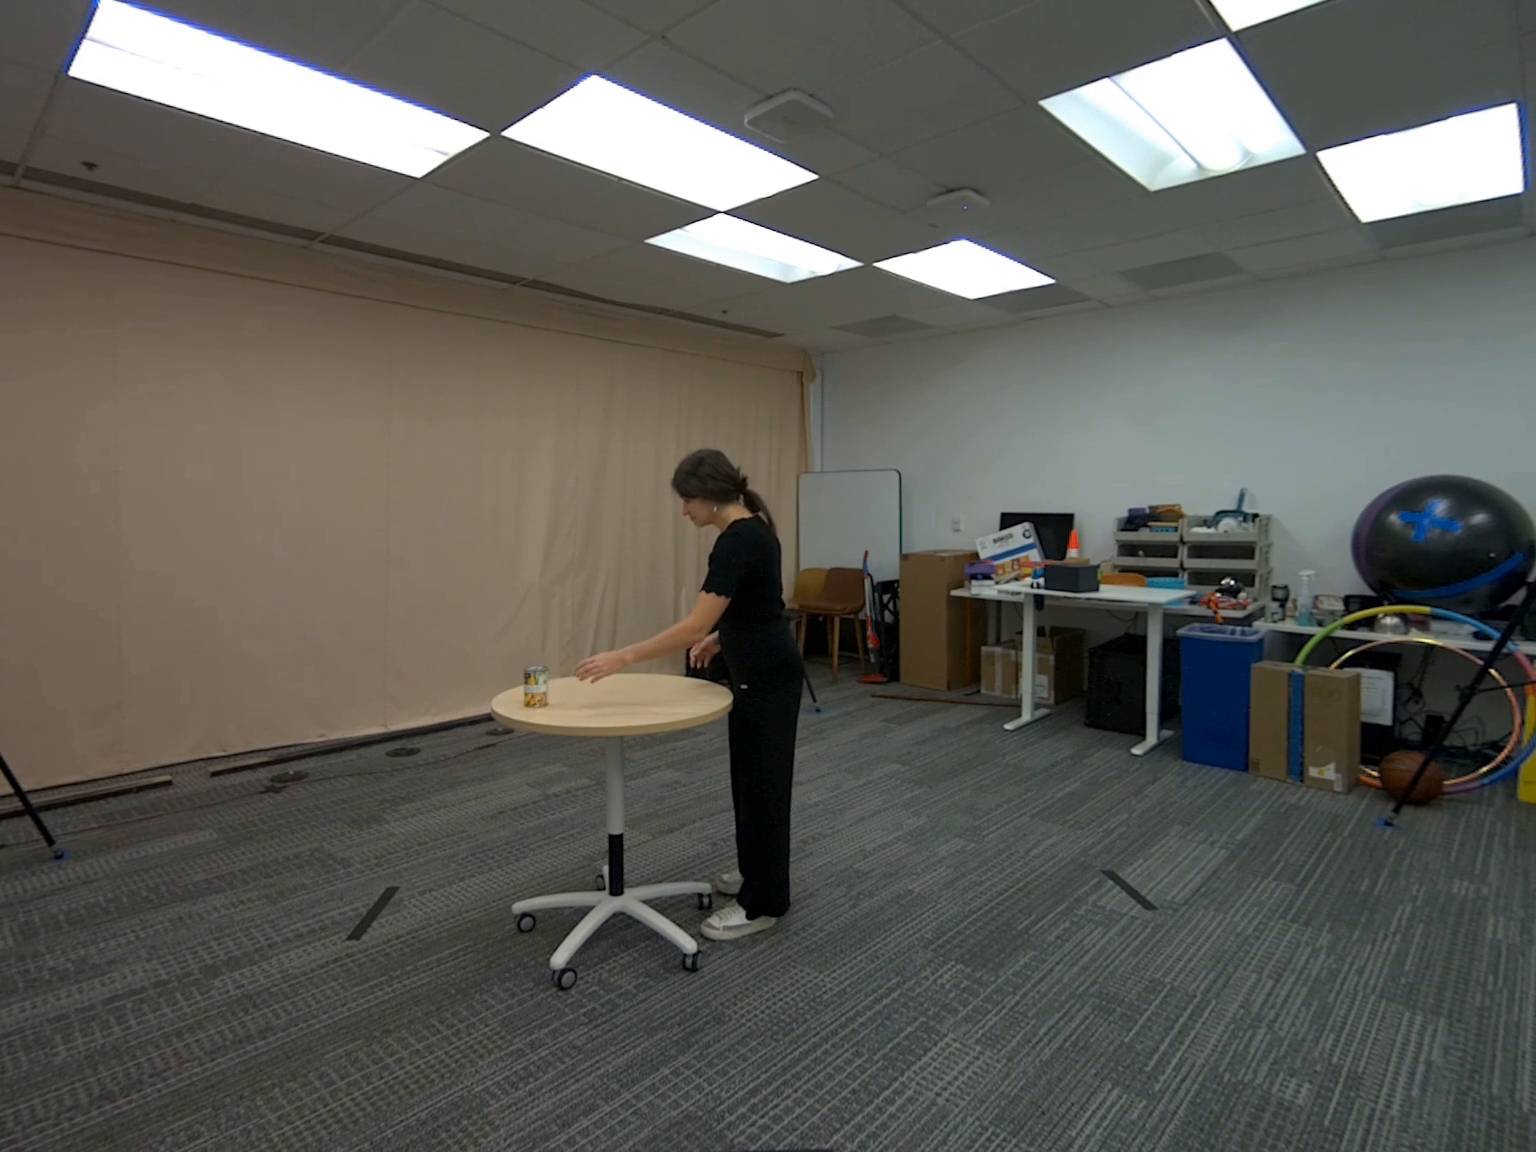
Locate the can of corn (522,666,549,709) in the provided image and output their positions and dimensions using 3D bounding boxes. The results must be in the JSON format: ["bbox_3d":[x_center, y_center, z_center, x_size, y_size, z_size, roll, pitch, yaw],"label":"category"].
[{"bbox_3d":[-0.711,0.345,2.580,0.074,0.111,0.074,-1,4,-2],"label":"can of corn"}]
